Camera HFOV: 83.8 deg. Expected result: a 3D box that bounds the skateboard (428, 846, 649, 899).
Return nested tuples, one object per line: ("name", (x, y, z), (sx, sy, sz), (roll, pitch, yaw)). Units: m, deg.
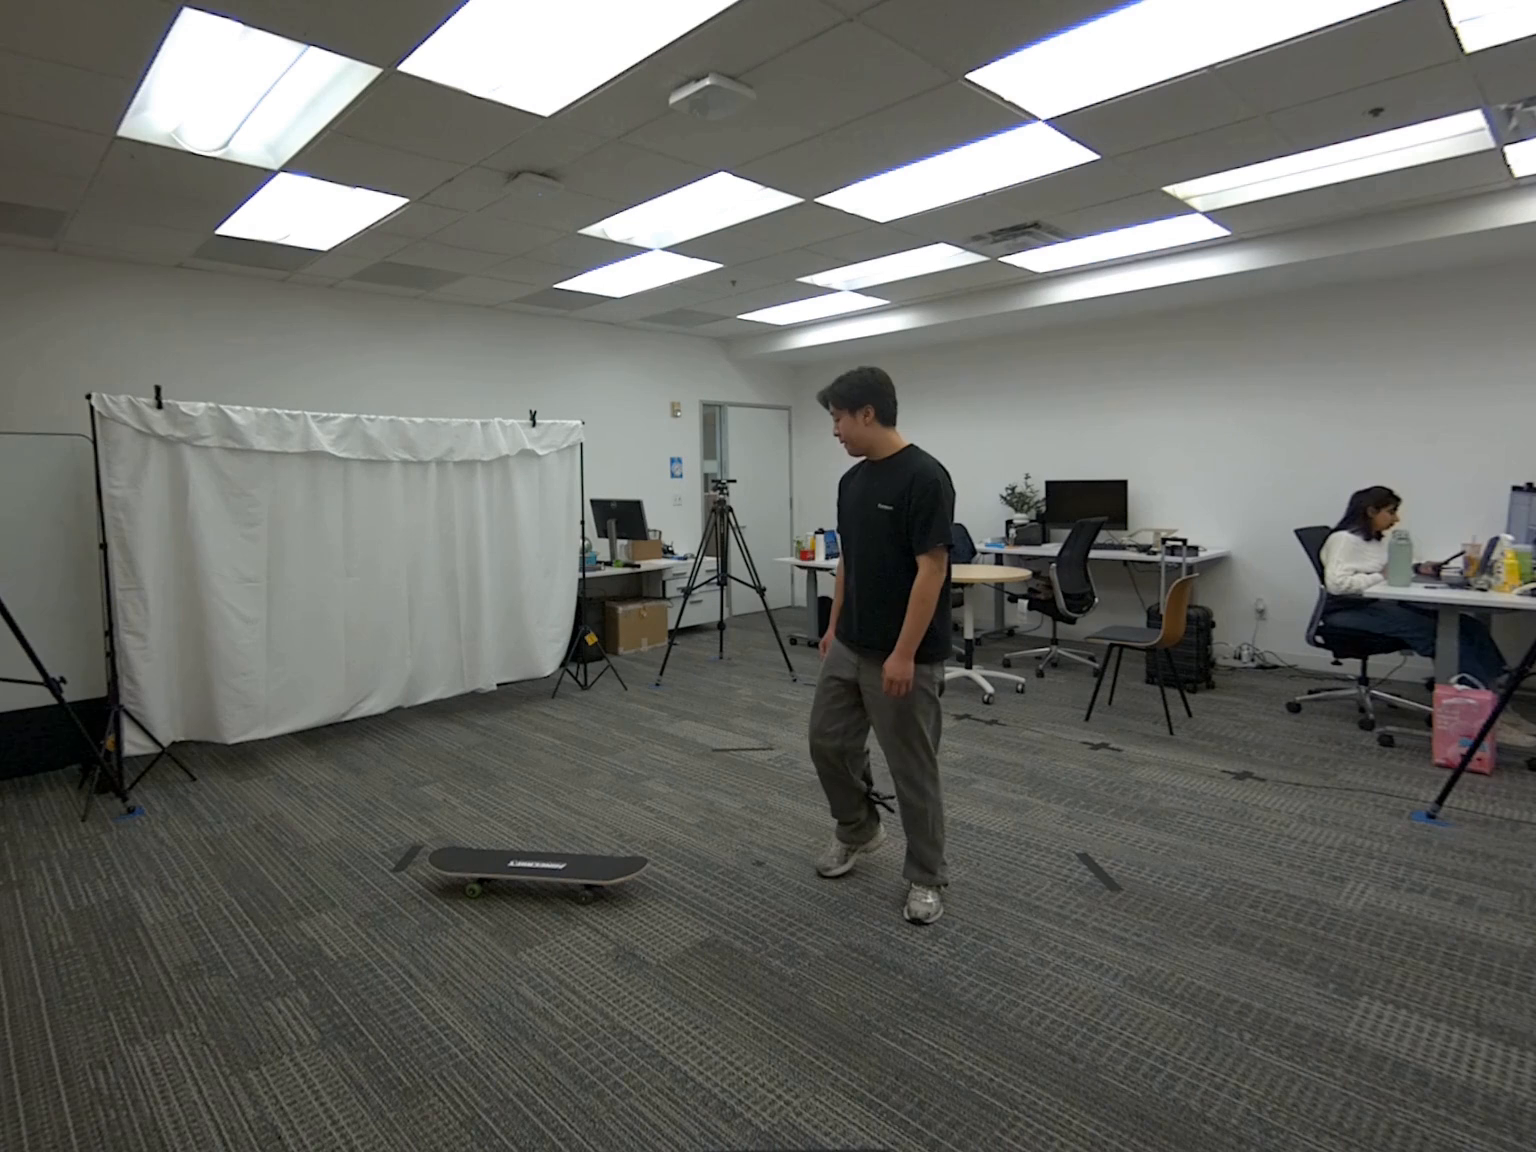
("skateboard", (-0.793, 1.026, 2.941), (0.793, 0.110, 0.193), (-1, 7, 9))
